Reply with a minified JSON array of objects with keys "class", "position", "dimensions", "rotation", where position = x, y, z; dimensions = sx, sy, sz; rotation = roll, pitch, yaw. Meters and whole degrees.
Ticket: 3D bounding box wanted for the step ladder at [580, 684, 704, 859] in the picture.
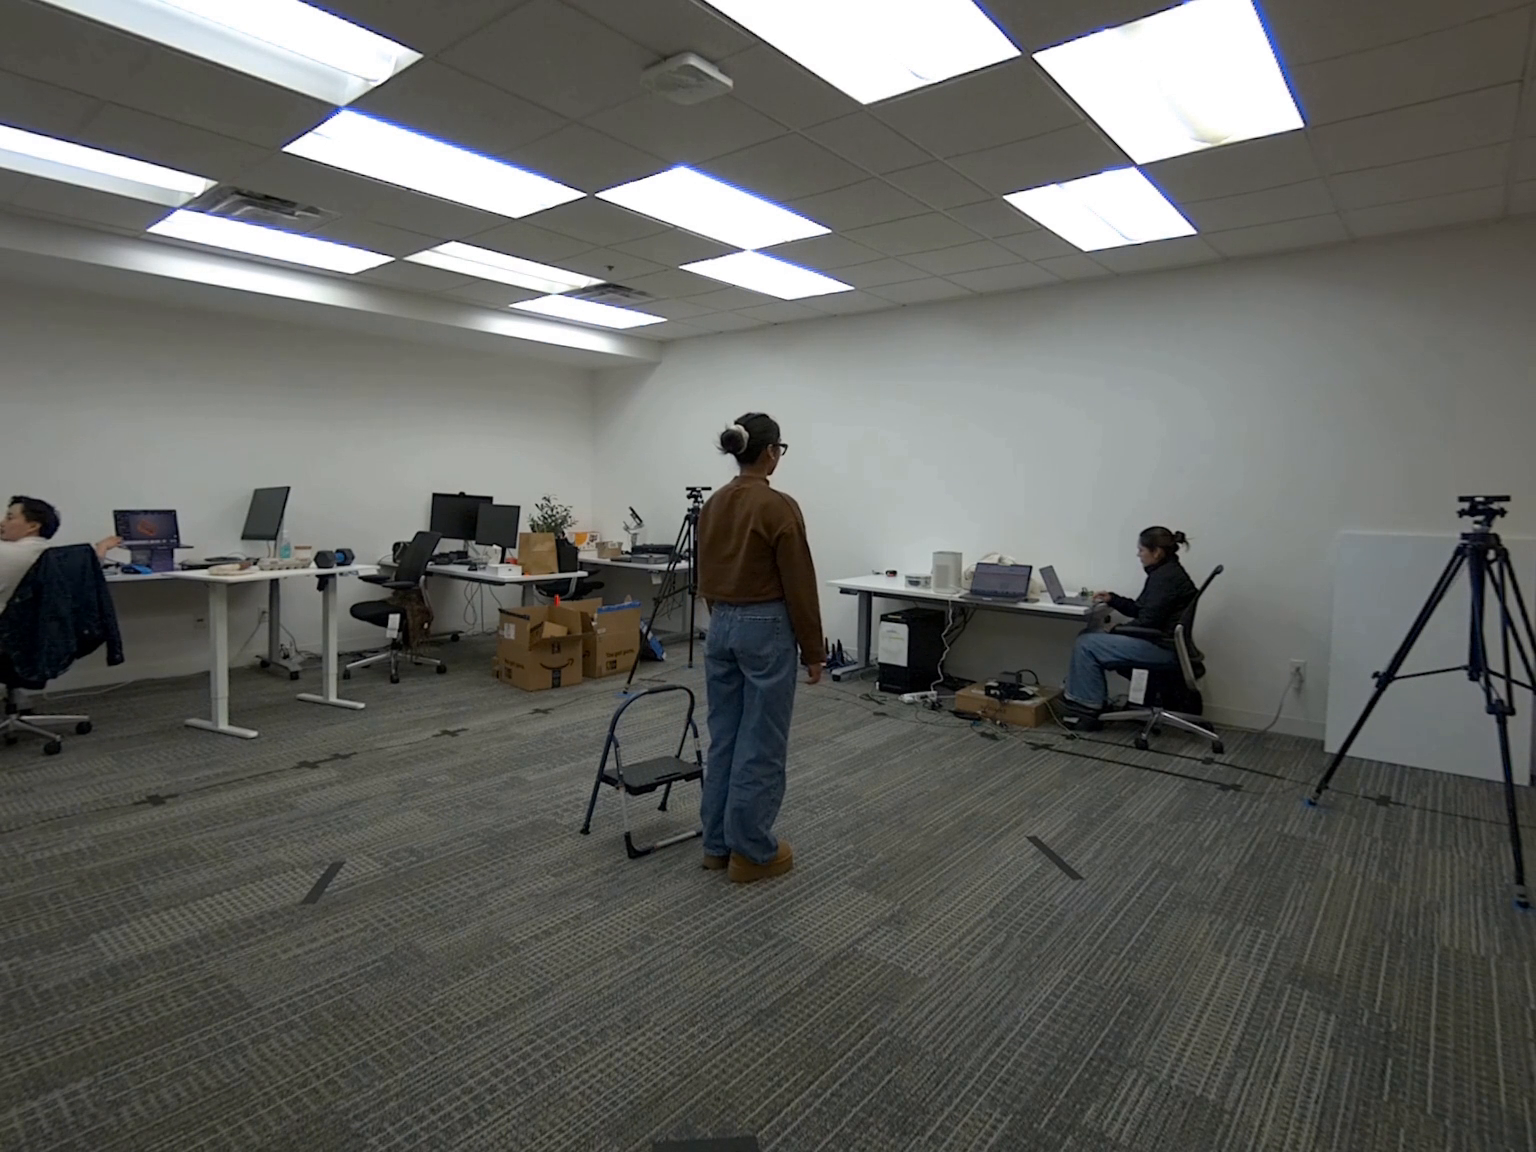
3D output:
[{"class":"step ladder","position":[-0.494,0.727,3.414],"dimensions":[0.417,0.604,0.361],"rotation":[-3,5,-44]}]
